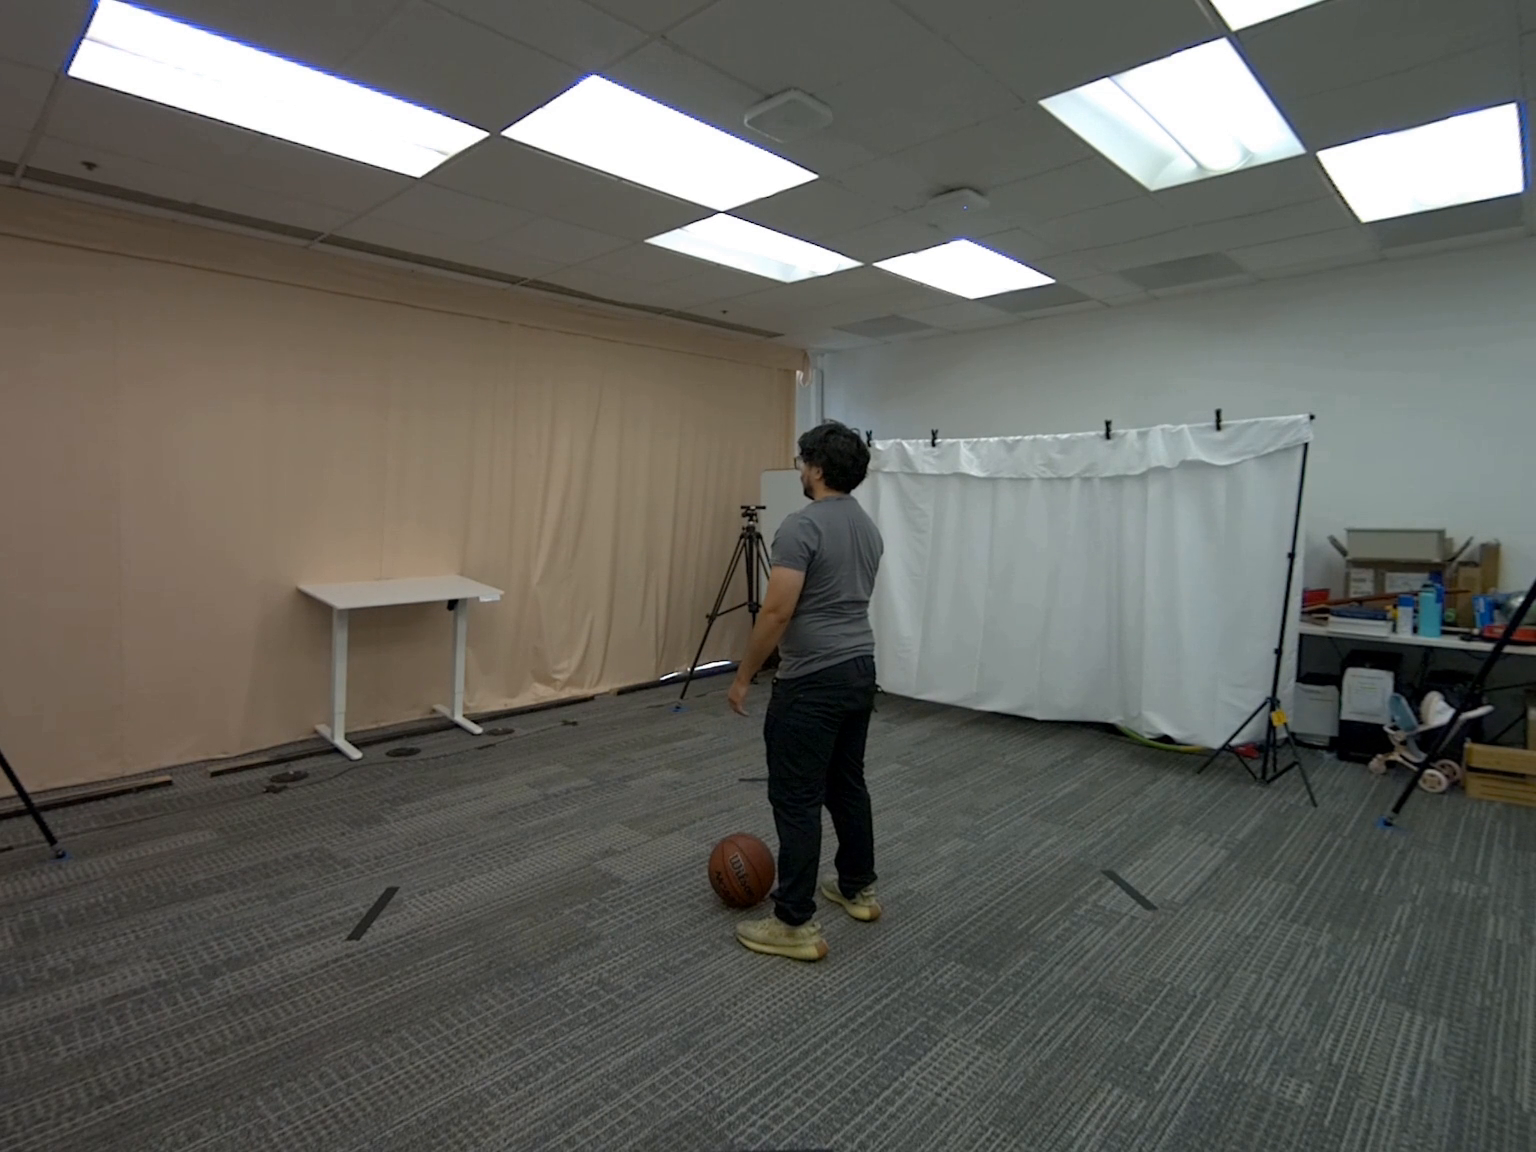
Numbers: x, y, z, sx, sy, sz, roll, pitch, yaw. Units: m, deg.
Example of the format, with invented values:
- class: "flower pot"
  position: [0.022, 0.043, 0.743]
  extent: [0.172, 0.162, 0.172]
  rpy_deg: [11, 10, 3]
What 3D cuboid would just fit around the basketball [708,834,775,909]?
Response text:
- class: "basketball"
  position: [-0.086, 1.025, 2.952]
  extent: [0.236, 0.235, 0.237]
  rpy_deg: [0, 4, -2]
